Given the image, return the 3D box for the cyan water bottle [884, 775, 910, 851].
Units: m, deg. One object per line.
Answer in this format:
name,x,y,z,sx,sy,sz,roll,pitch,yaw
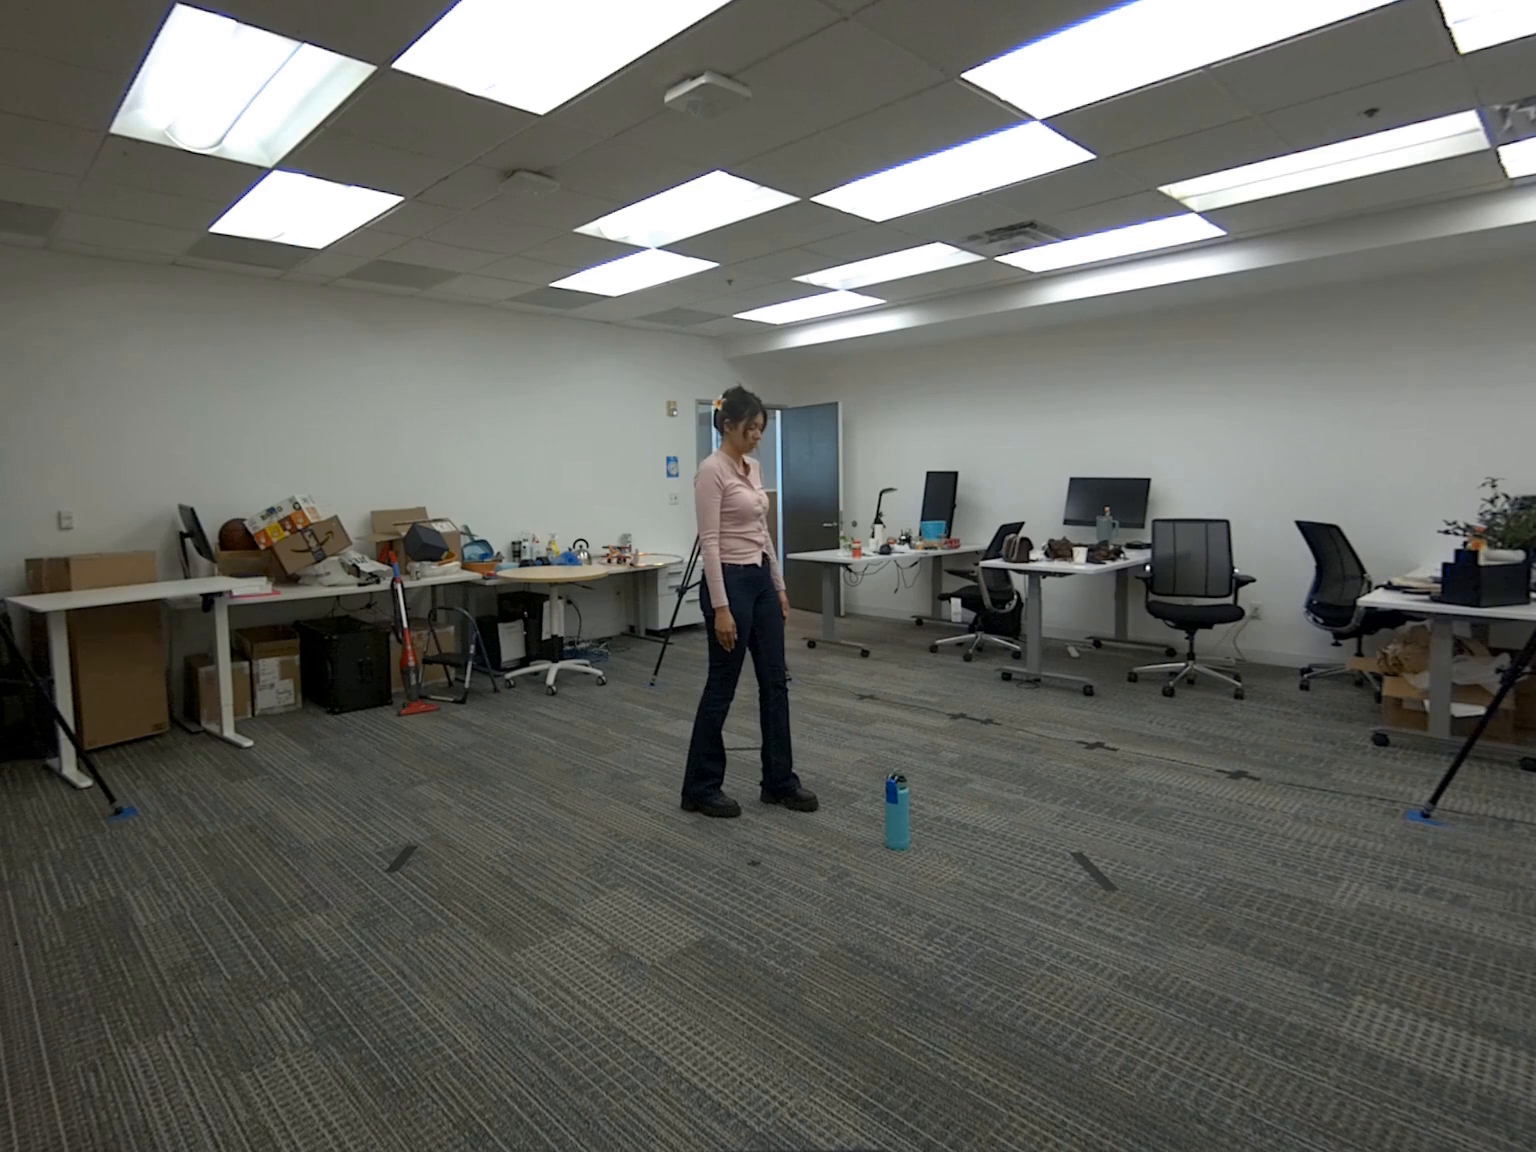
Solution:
cyan water bottle,0.495,0.882,3.227,0.092,0.282,0.093,-2,4,-2
